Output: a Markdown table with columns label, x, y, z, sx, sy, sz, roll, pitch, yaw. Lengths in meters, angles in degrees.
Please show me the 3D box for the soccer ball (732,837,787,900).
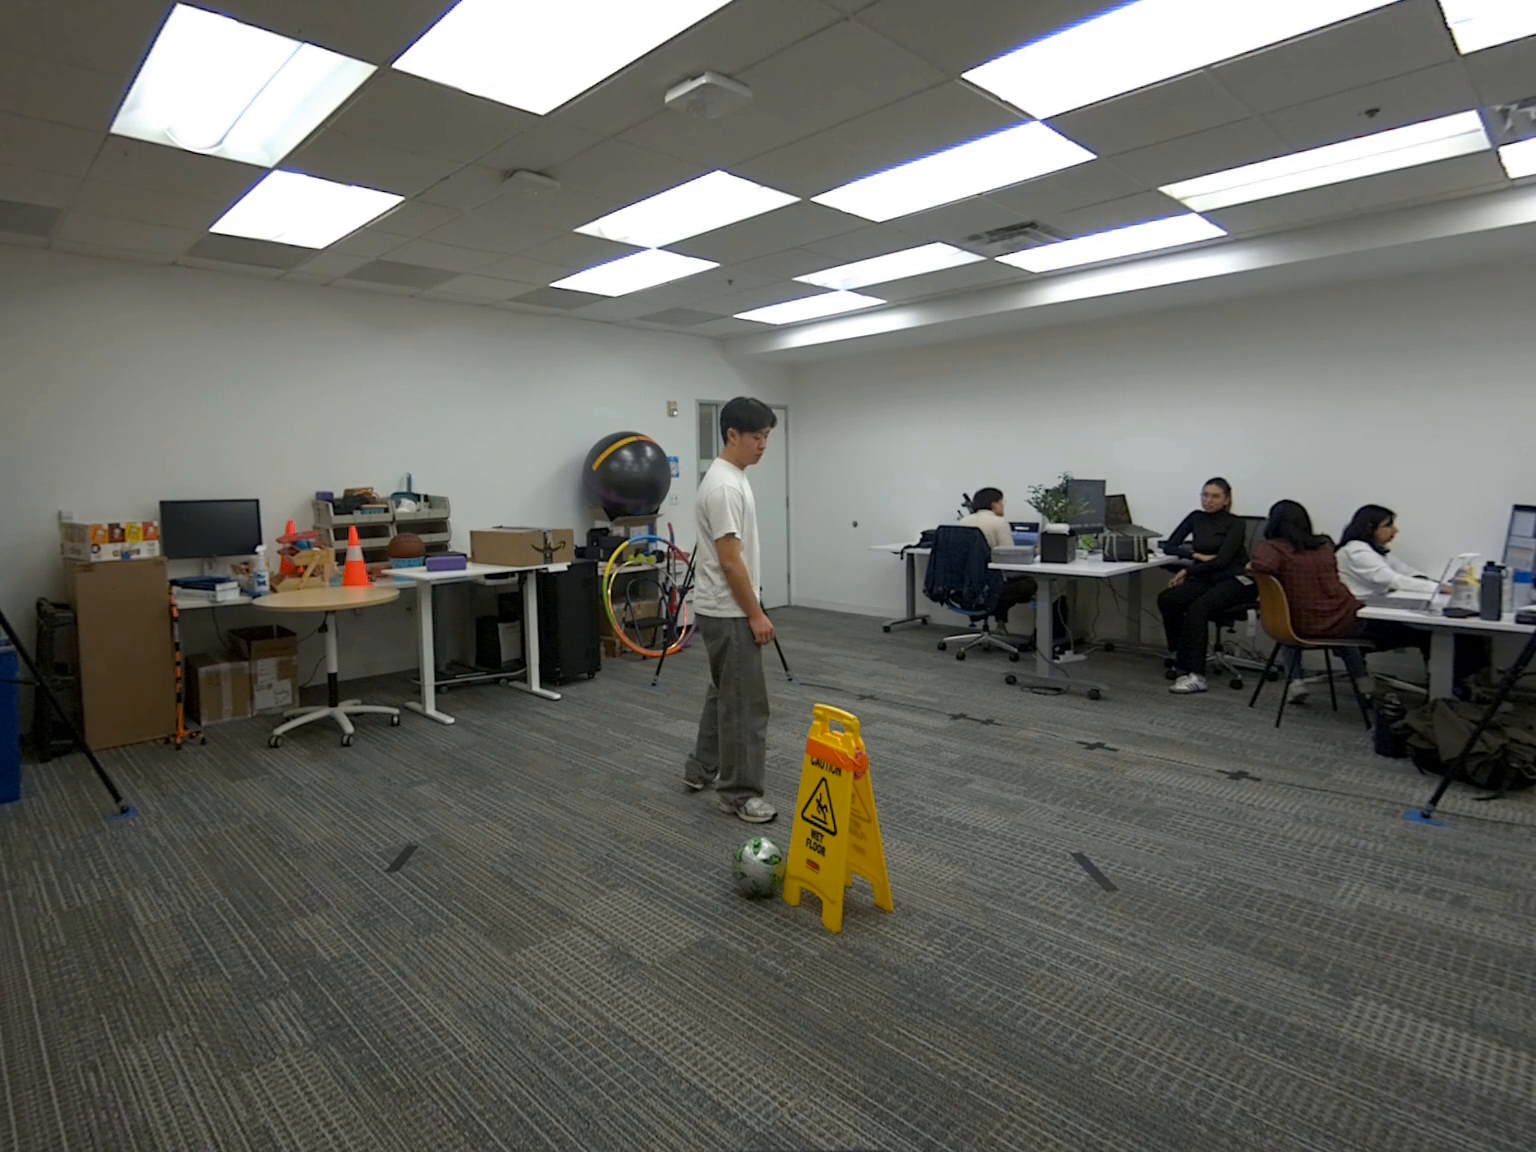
| label | x | y | z | sx | sy | sz | roll | pitch | yaw |
| --- | --- | --- | --- | --- | --- | --- | --- | --- | --- |
| soccer ball | -0.029 | 0.985 | 2.895 | 0.187 | 0.187 | 0.188 | -1 | 5 | -2 |
